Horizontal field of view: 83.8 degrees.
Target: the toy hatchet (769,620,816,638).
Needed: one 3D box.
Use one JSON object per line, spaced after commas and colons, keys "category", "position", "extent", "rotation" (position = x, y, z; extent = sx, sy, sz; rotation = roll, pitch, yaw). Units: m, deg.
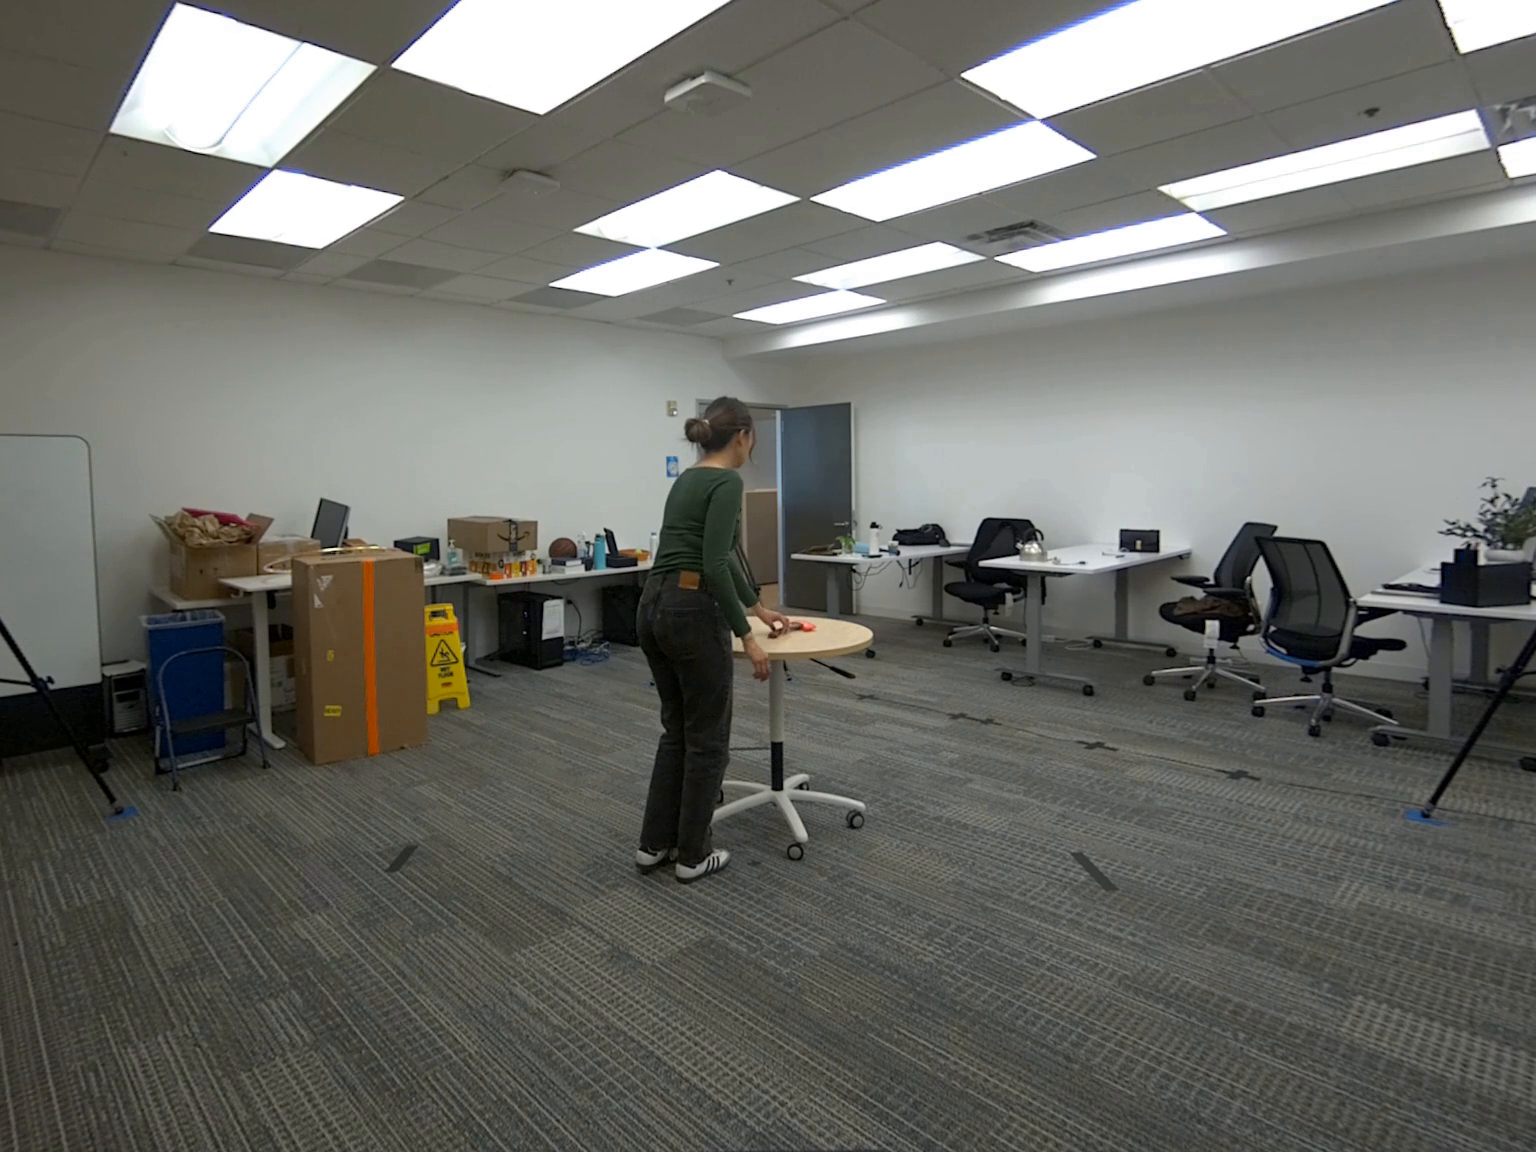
{"category": "toy hatchet", "position": [0.100, 0.215, 3.393], "extent": [0.134, 0.029, 0.267], "rotation": [5, 11, 19]}
